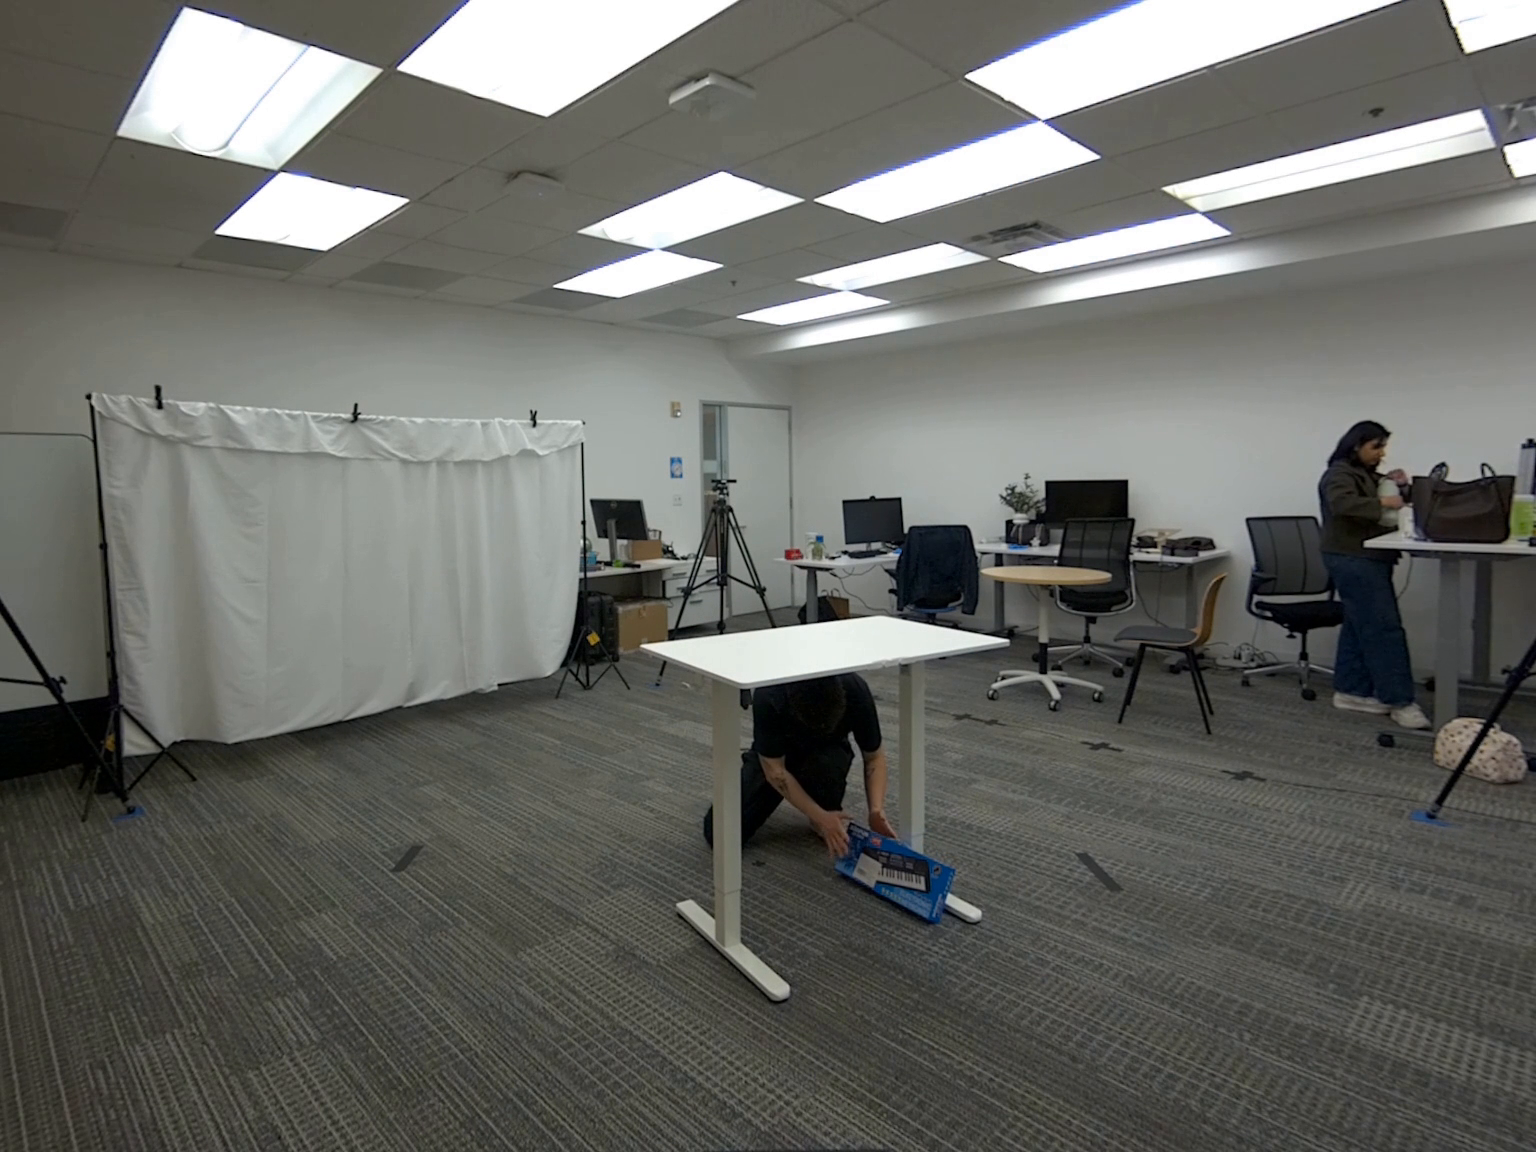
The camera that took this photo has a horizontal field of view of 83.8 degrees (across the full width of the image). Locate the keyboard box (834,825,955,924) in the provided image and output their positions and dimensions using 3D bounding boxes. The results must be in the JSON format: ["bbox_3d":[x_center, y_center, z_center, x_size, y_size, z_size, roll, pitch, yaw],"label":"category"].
[{"bbox_3d":[0.418,0.988,2.851,0.057,0.177,0.450,29,-14,-34],"label":"keyboard box"}]
